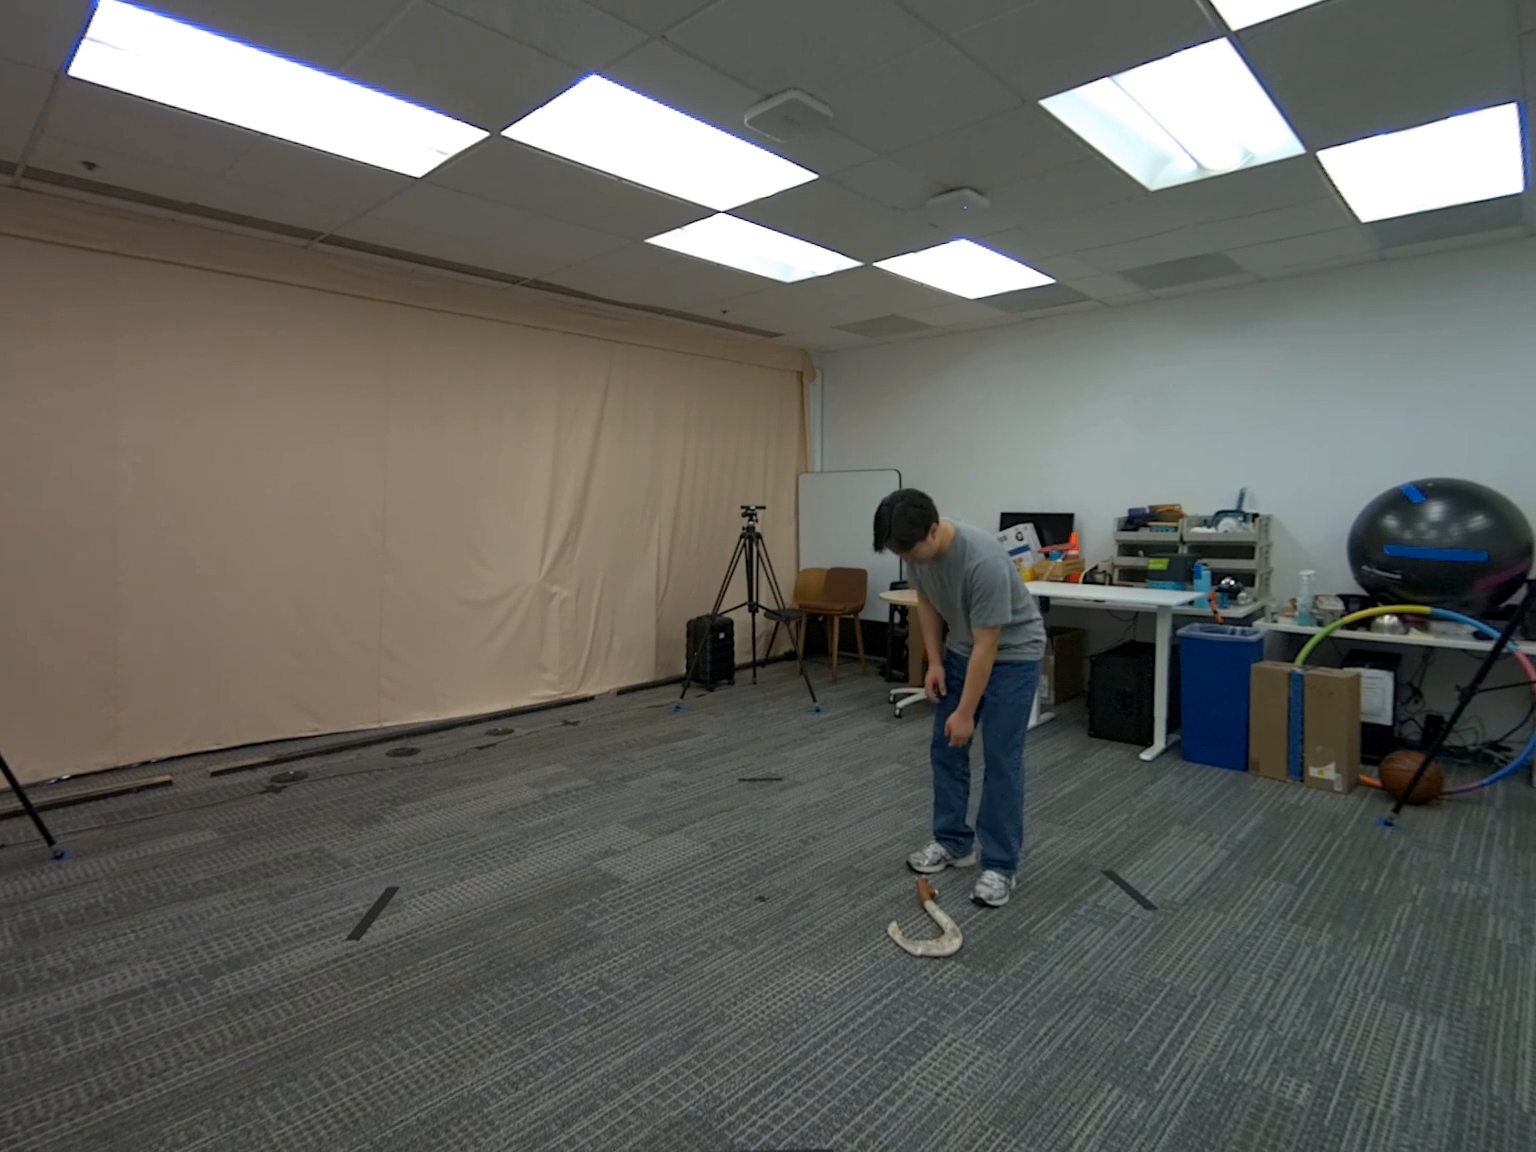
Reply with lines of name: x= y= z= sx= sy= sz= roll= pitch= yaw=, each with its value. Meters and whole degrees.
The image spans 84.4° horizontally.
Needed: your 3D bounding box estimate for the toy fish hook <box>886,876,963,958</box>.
toy fish hook: x=0.509 y=1.131 z=2.828 sx=0.225 sy=0.048 sz=0.506 roll=1 pitch=4 yaw=1
